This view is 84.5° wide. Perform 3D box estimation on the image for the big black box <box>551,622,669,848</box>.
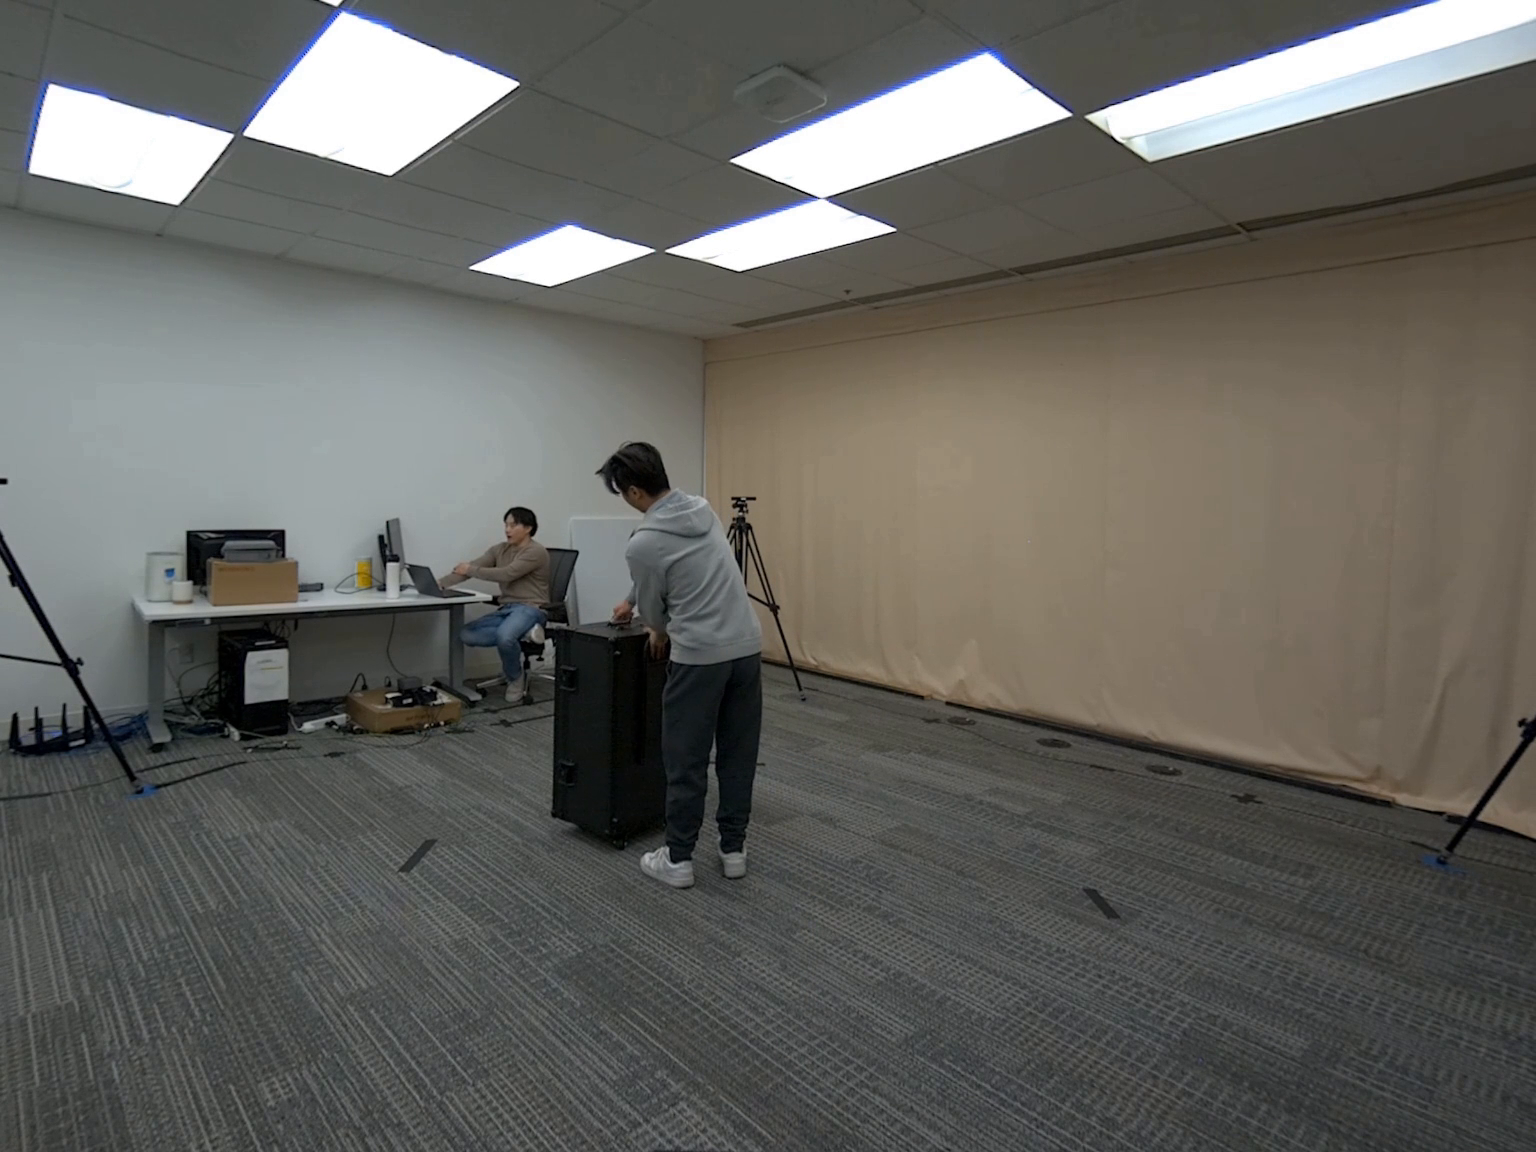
[{"bbox_3d":[-0.592,0.578,3.507,0.406,0.860,0.509,4,3,38],"label":"big black box"}]
